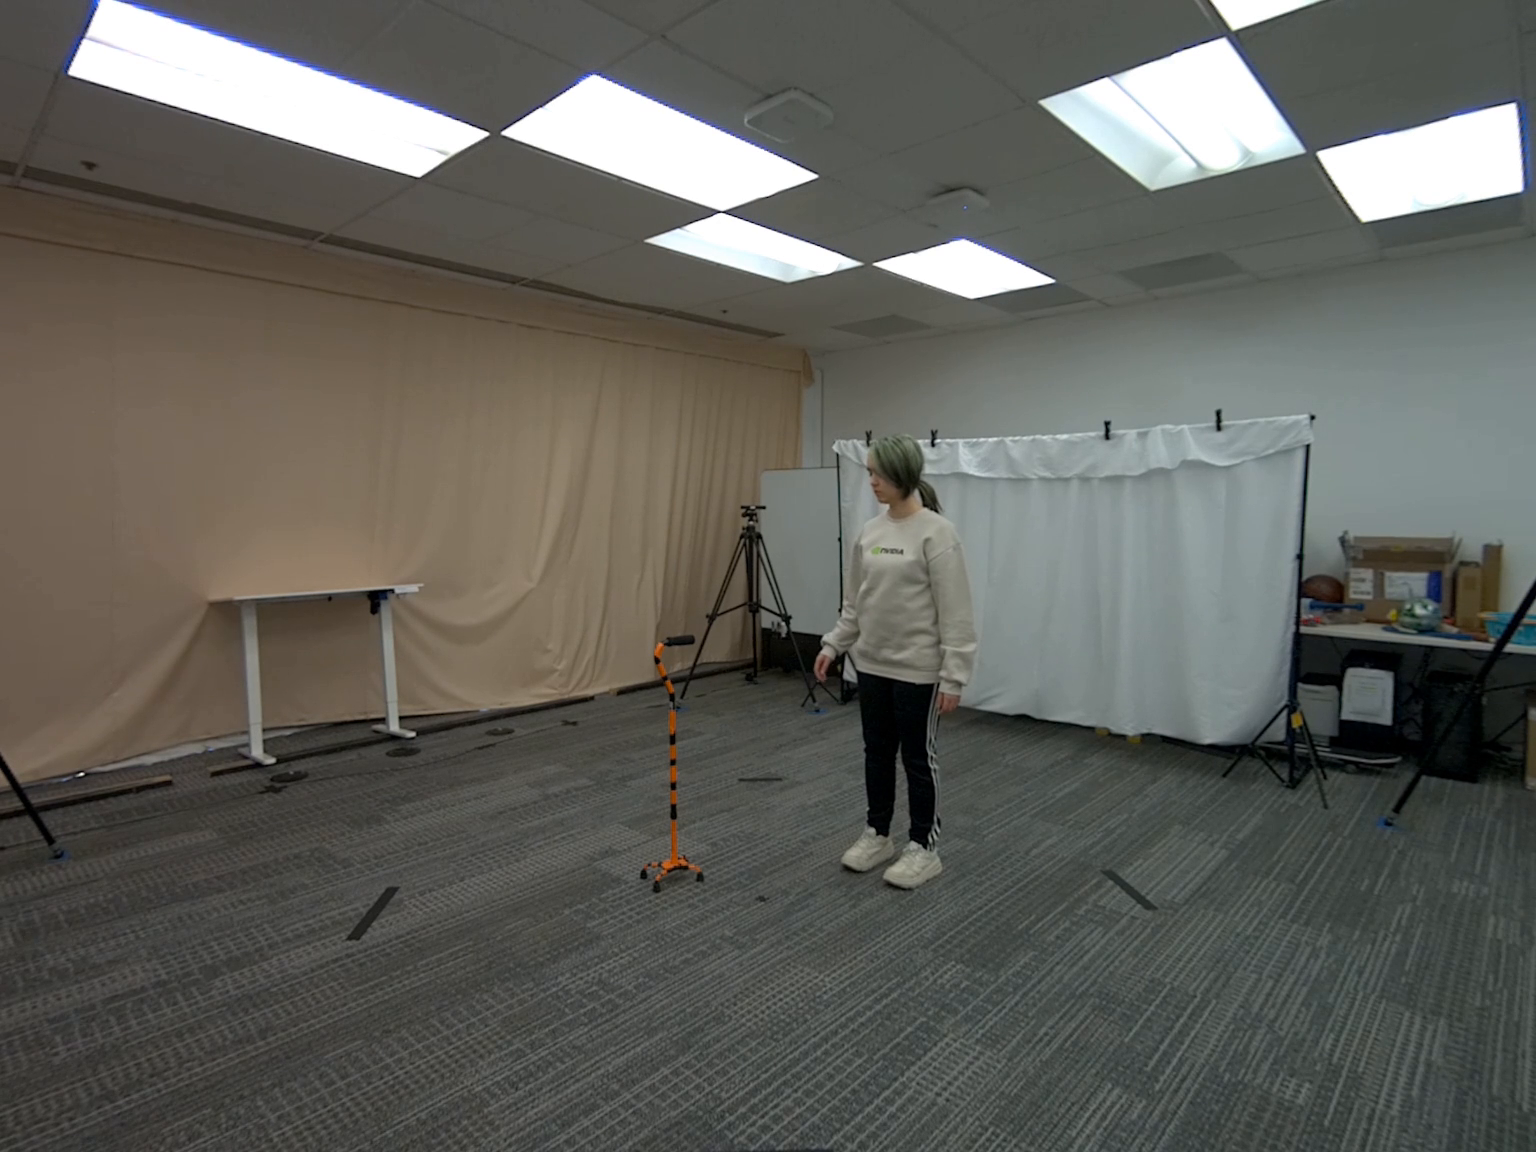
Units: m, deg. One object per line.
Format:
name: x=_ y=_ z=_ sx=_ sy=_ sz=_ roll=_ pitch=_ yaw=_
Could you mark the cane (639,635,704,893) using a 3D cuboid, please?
cane: x=-0.362 y=0.684 z=3.124 sx=0.201 sy=0.906 sz=0.156 roll=-2 pitch=3 yaw=-28
